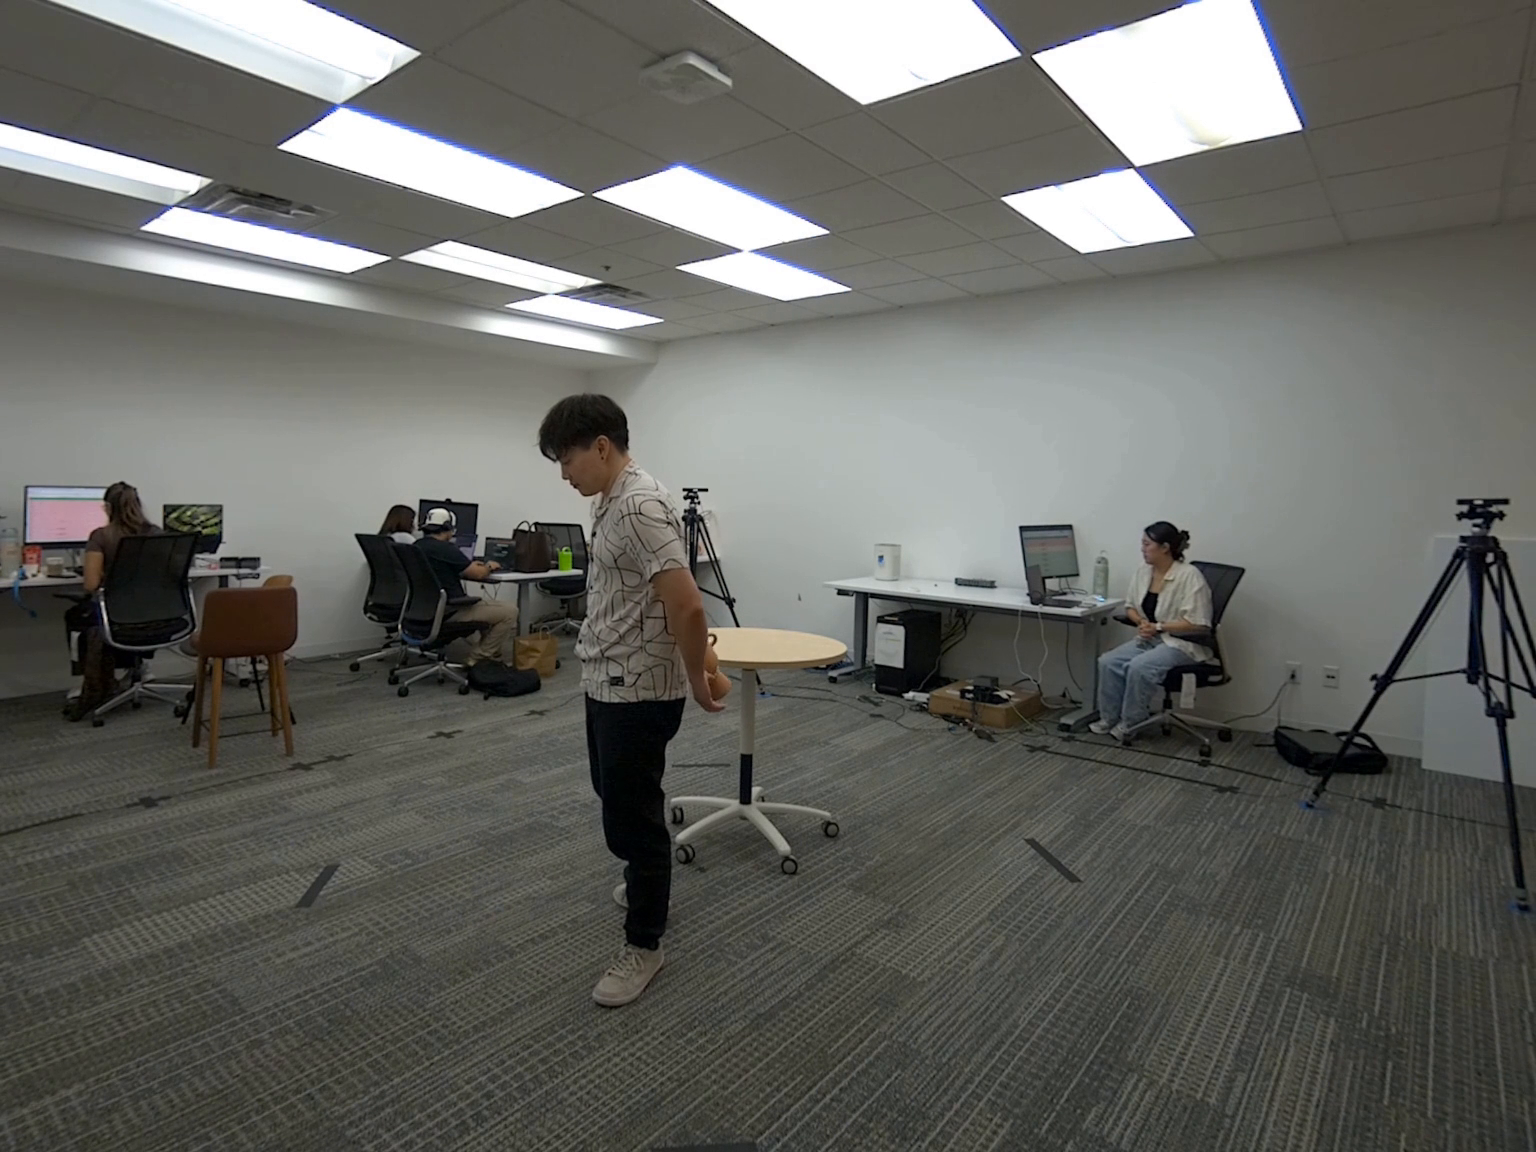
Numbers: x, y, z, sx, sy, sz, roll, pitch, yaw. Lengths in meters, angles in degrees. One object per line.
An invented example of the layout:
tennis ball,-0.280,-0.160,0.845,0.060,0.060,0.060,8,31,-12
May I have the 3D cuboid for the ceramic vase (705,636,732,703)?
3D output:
ceramic vase,-0.228,0.292,2.729,0.161,0.213,0.137,-20,29,26
